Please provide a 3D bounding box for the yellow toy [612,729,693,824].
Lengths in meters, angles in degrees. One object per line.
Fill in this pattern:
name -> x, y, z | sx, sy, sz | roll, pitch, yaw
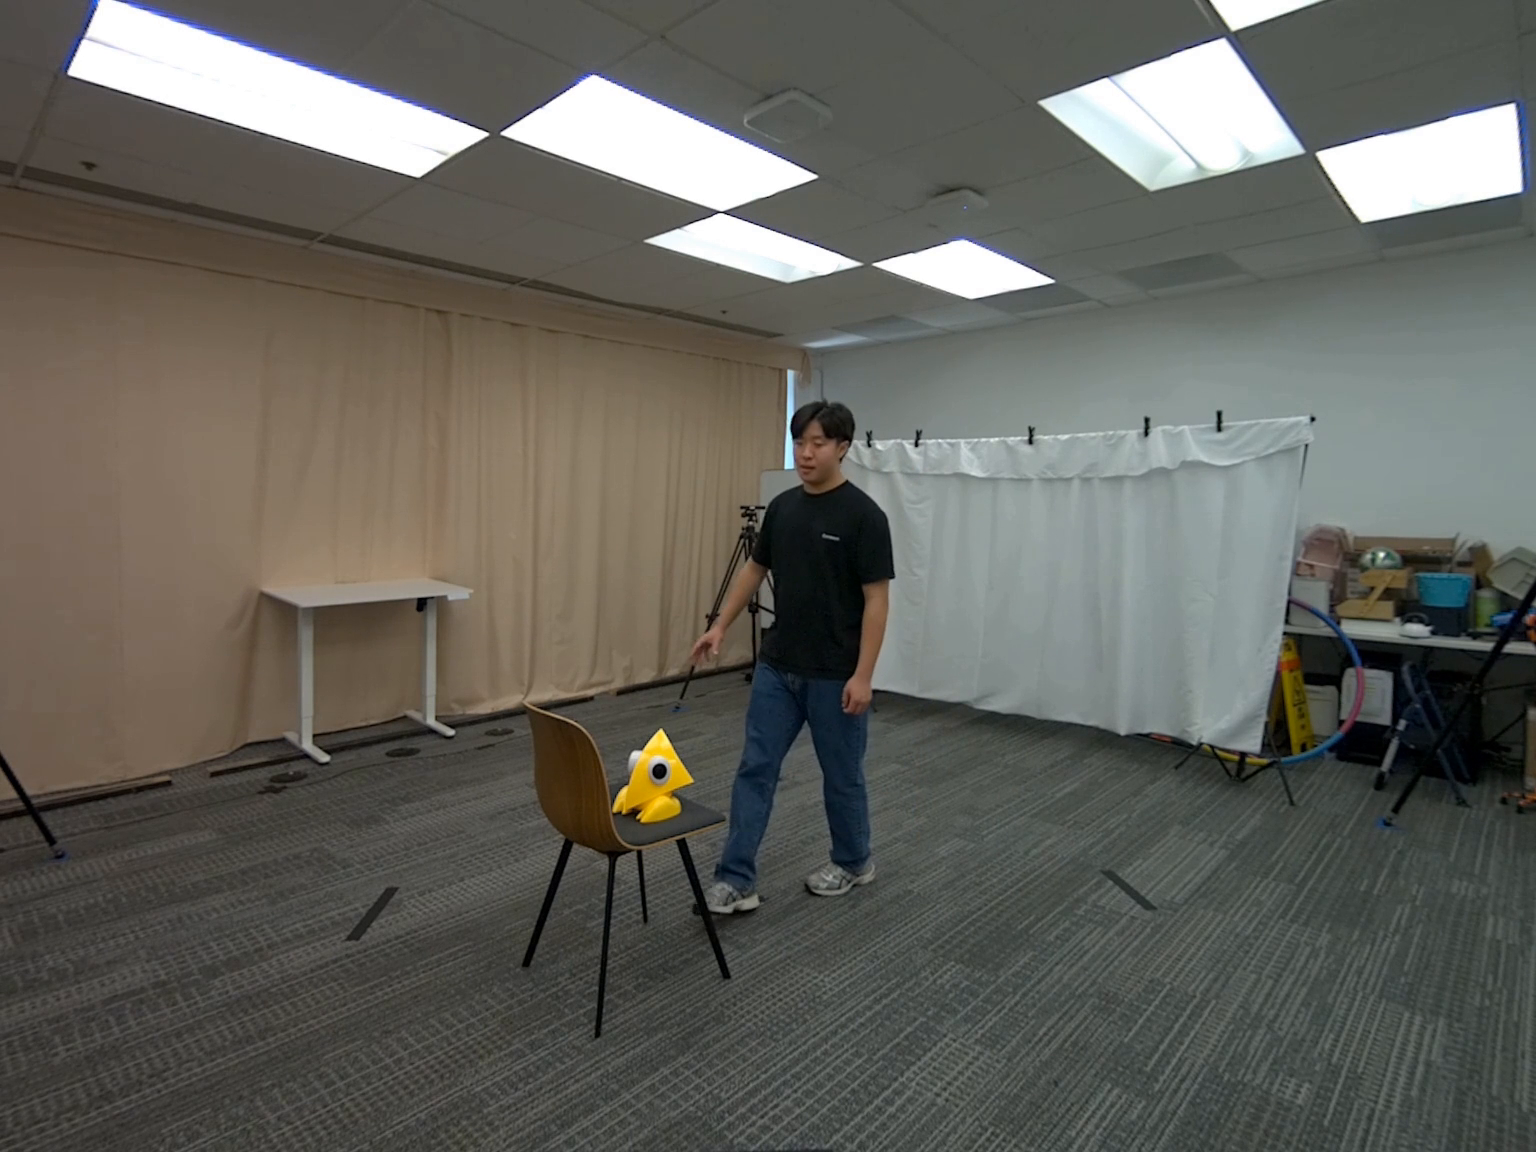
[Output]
yellow toy -> -0.361, 0.589, 2.525 | 0.211, 0.230, 0.187 | 2, 6, 42
